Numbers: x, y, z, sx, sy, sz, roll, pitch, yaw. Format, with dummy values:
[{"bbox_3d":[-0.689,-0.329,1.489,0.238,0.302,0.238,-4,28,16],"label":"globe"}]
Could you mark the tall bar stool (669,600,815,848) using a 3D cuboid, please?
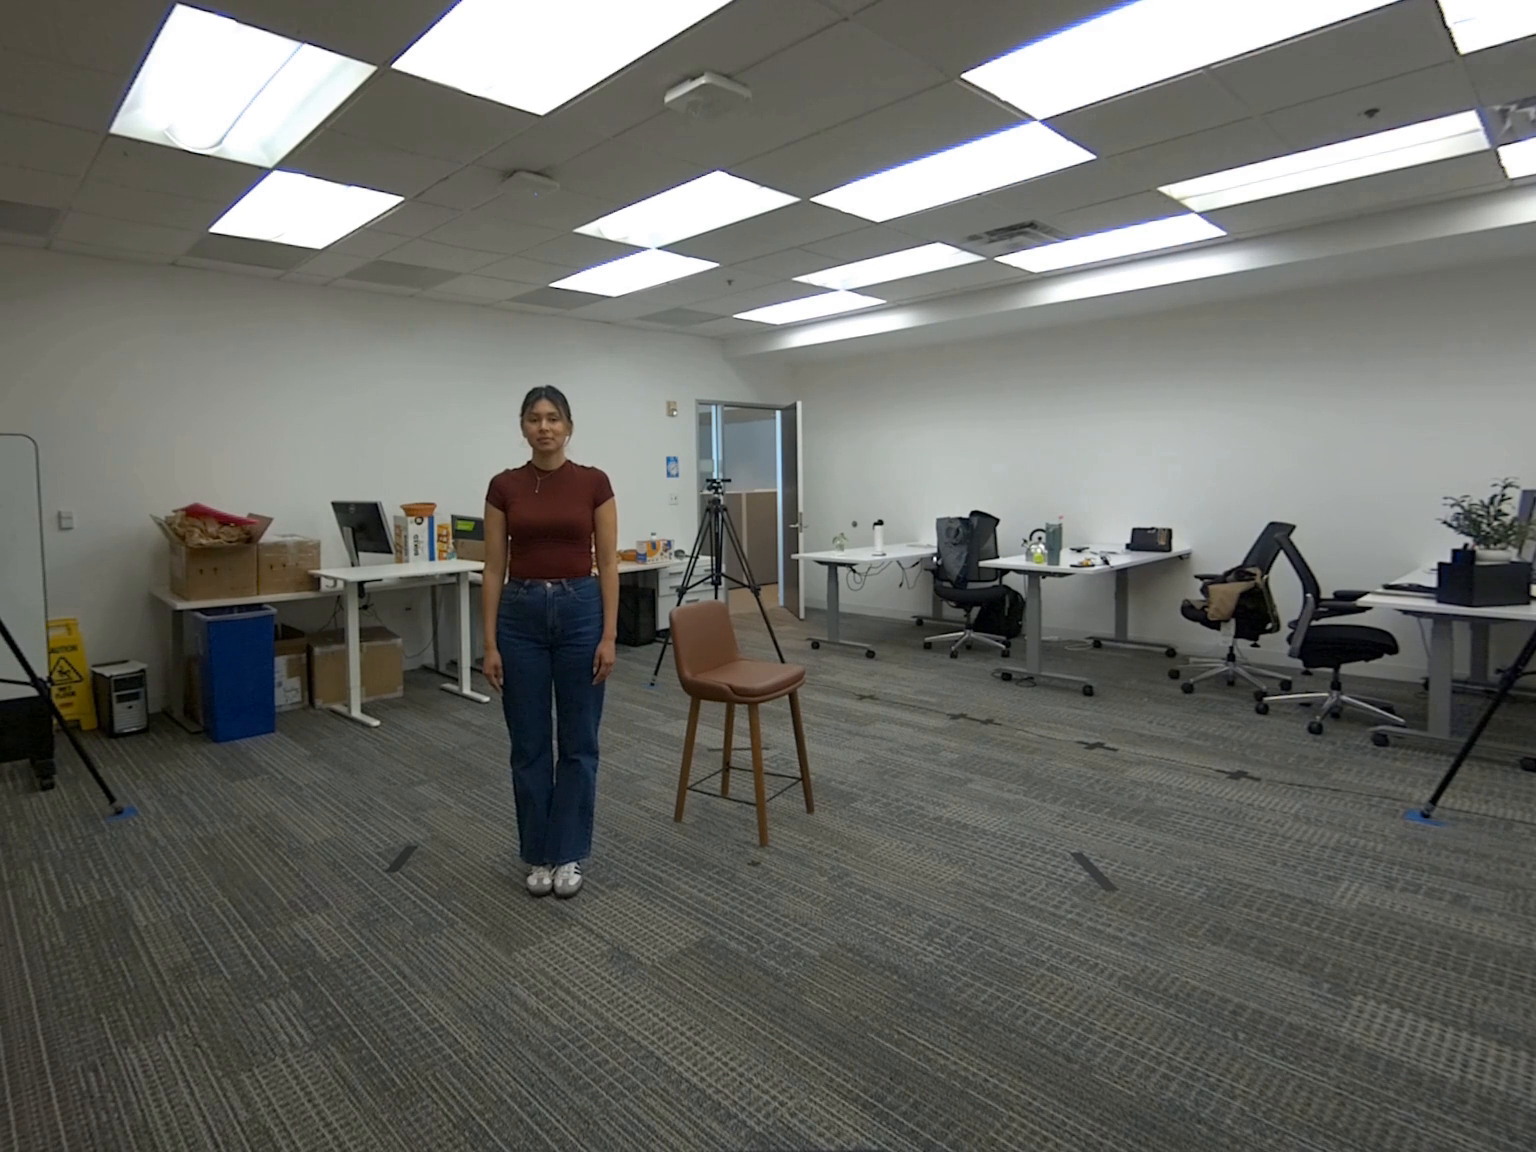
[{"bbox_3d":[-0.112,0.565,3.514,0.480,0.888,0.445,-1,3,33],"label":"tall bar stool"}]
